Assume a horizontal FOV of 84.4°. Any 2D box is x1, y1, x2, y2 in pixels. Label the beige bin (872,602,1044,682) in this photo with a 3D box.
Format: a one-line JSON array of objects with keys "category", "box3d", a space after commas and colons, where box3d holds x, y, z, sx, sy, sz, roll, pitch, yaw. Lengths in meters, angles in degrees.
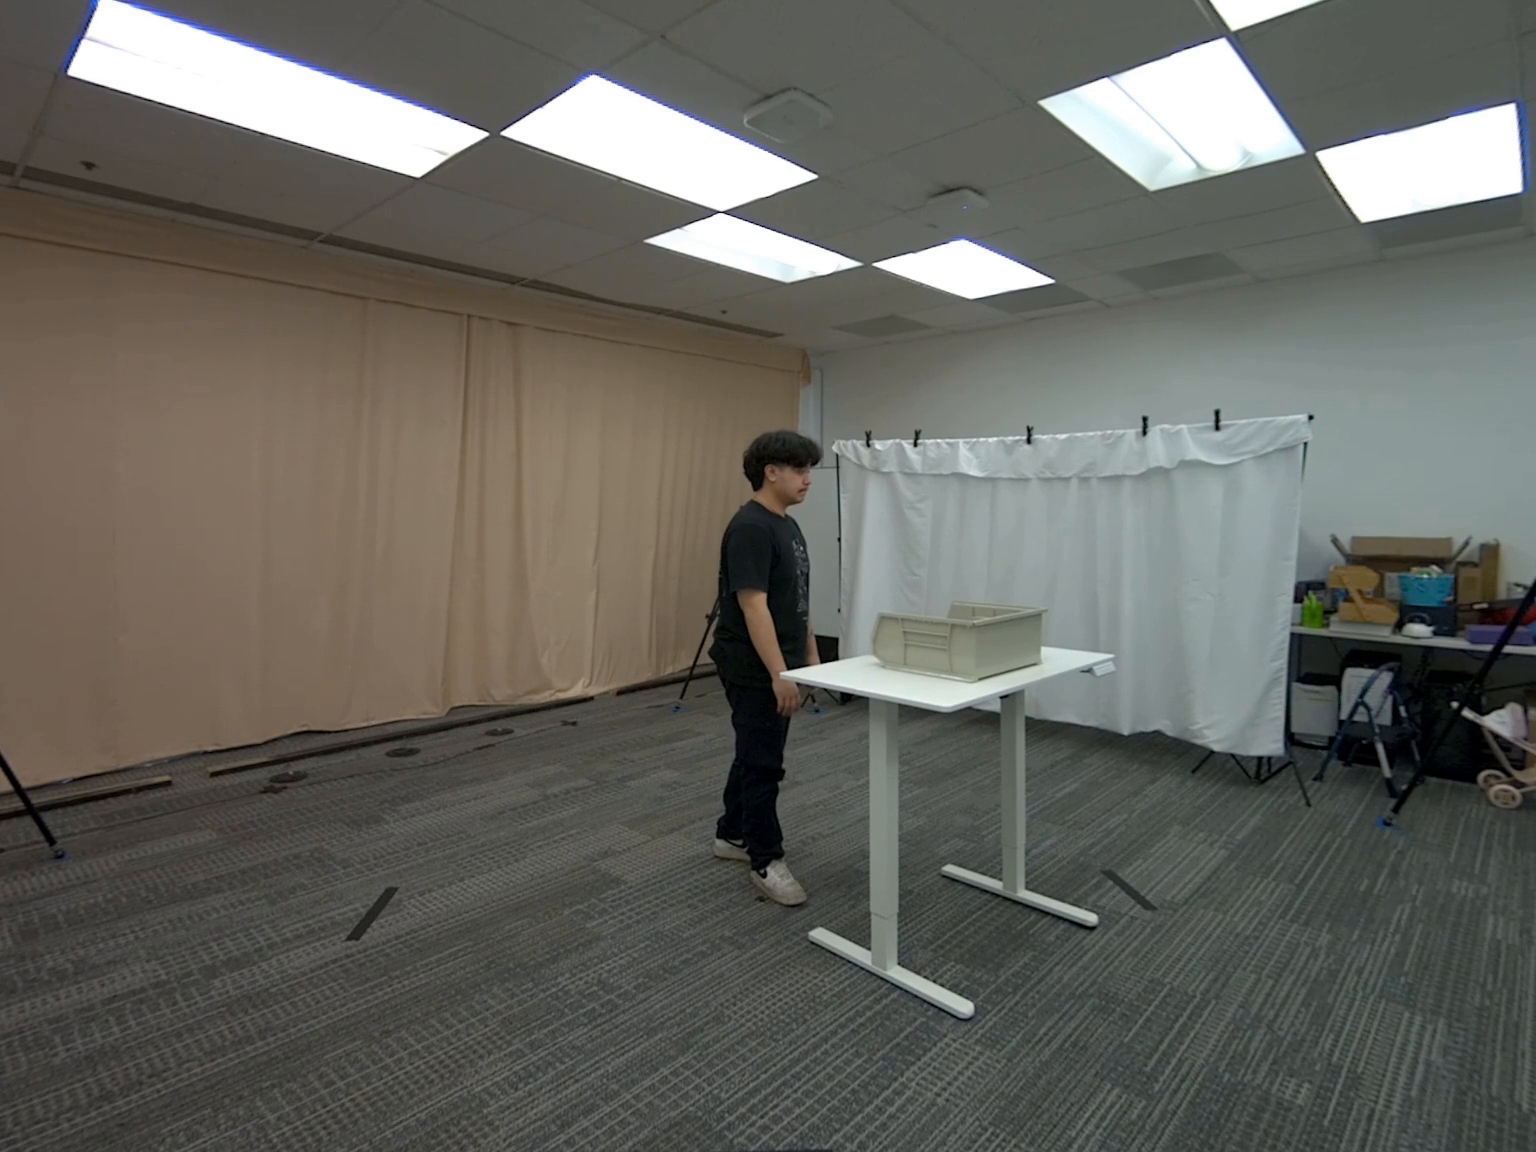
[{"category": "beige bin", "box3d": [0.610, 0.201, 2.667, 0.409, 0.188, 0.390, -4, 6, -42]}]
